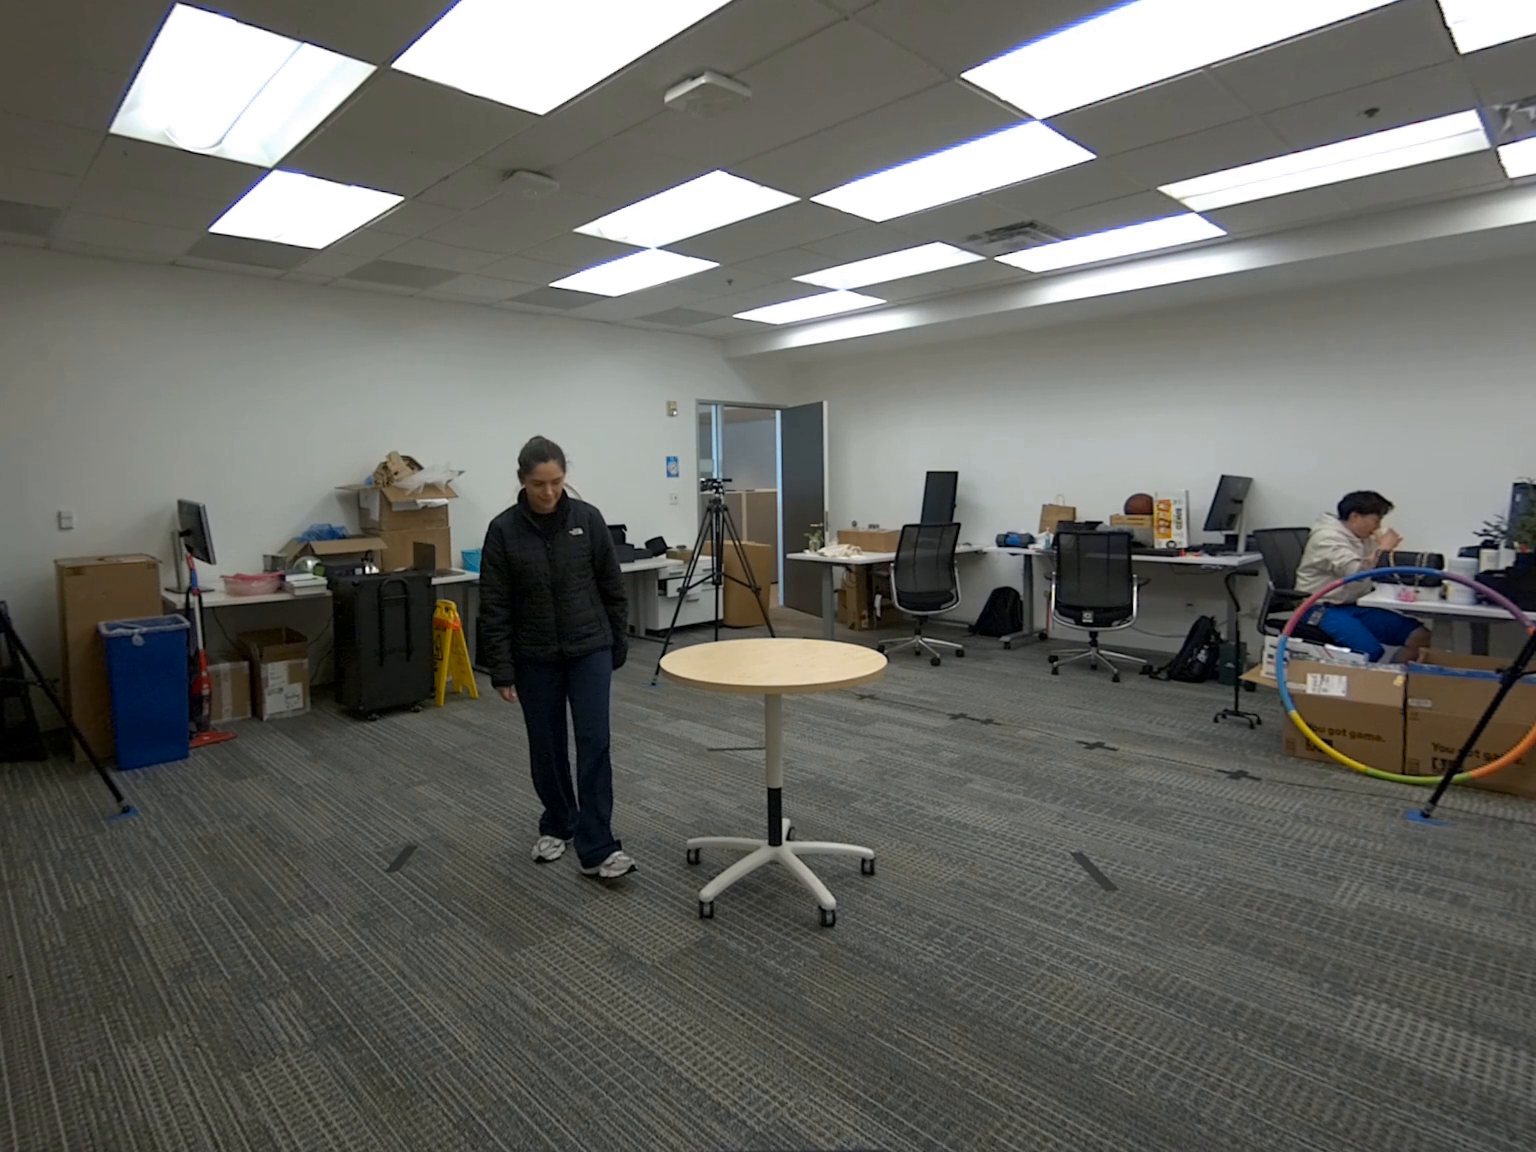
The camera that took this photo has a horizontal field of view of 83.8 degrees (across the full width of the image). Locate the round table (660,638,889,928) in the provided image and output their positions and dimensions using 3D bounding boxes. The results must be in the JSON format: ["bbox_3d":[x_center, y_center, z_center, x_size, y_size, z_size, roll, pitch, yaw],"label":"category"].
[{"bbox_3d":[0.008,0.668,2.931,0.784,0.784,0.789,-1,5,-2],"label":"round table"}]
